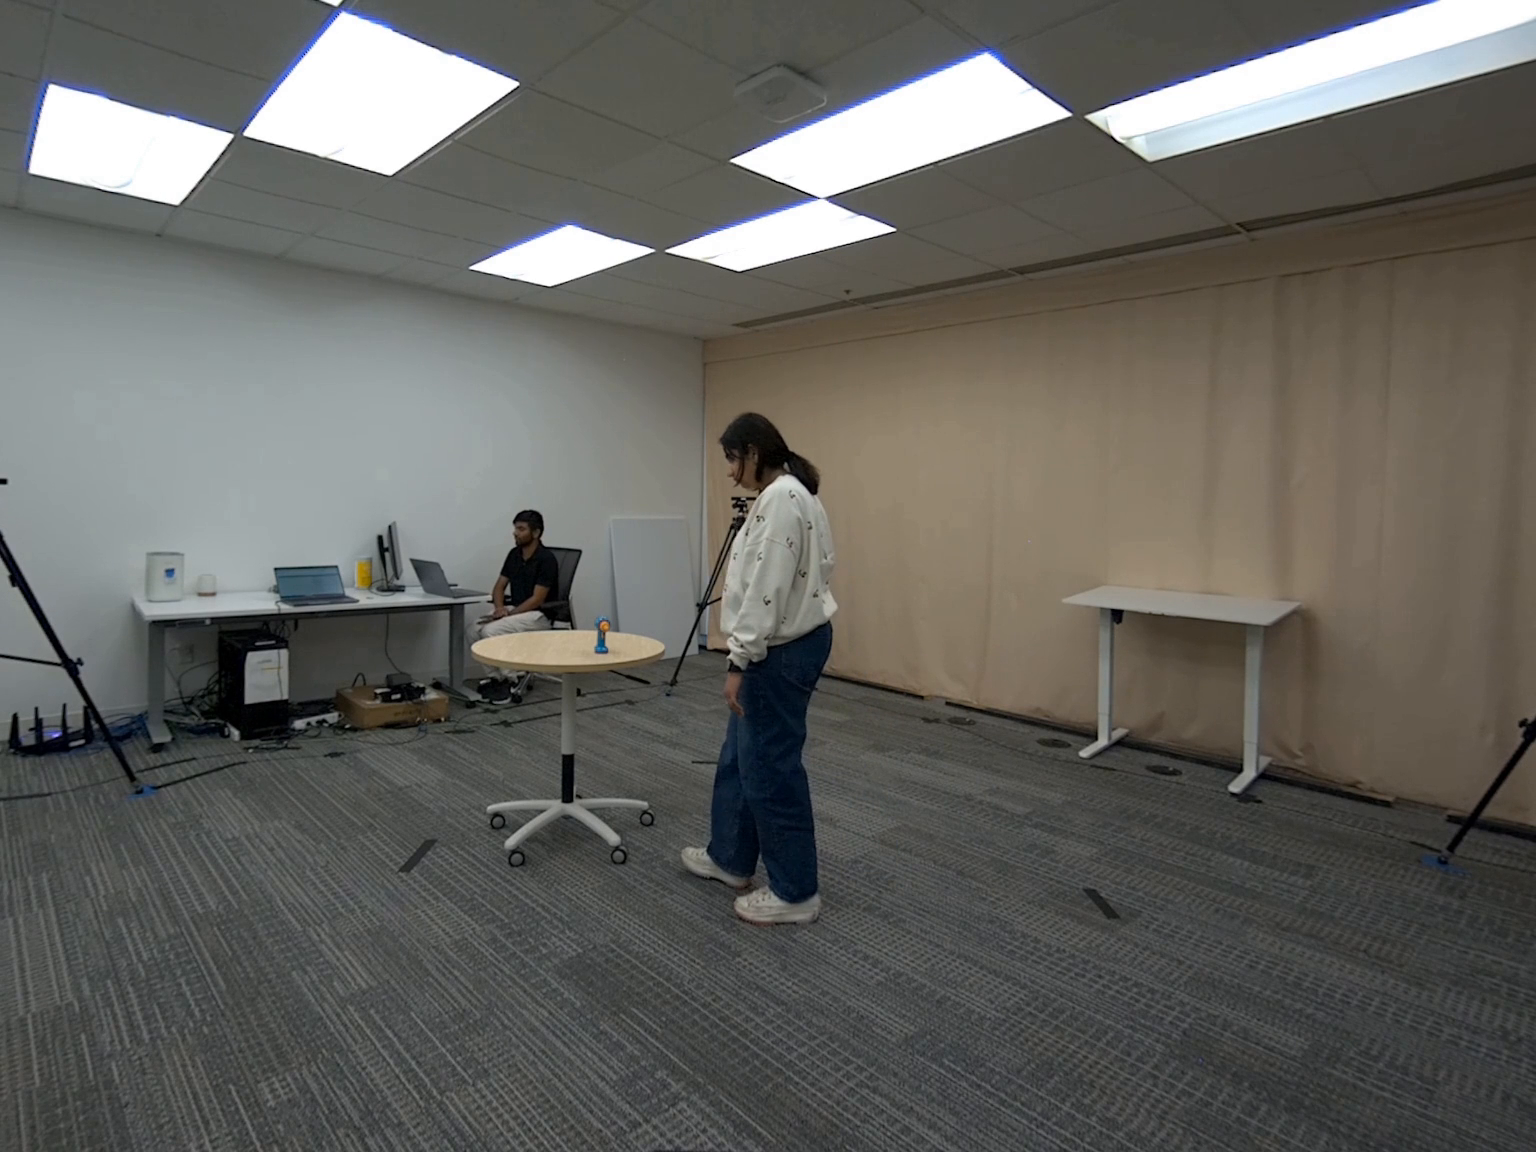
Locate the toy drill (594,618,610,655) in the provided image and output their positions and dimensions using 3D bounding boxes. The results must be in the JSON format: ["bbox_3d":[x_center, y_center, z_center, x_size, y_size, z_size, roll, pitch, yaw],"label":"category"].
[{"bbox_3d":[-0.651,0.230,3.243,0.060,0.145,0.172,0,5,-16],"label":"toy drill"}]
